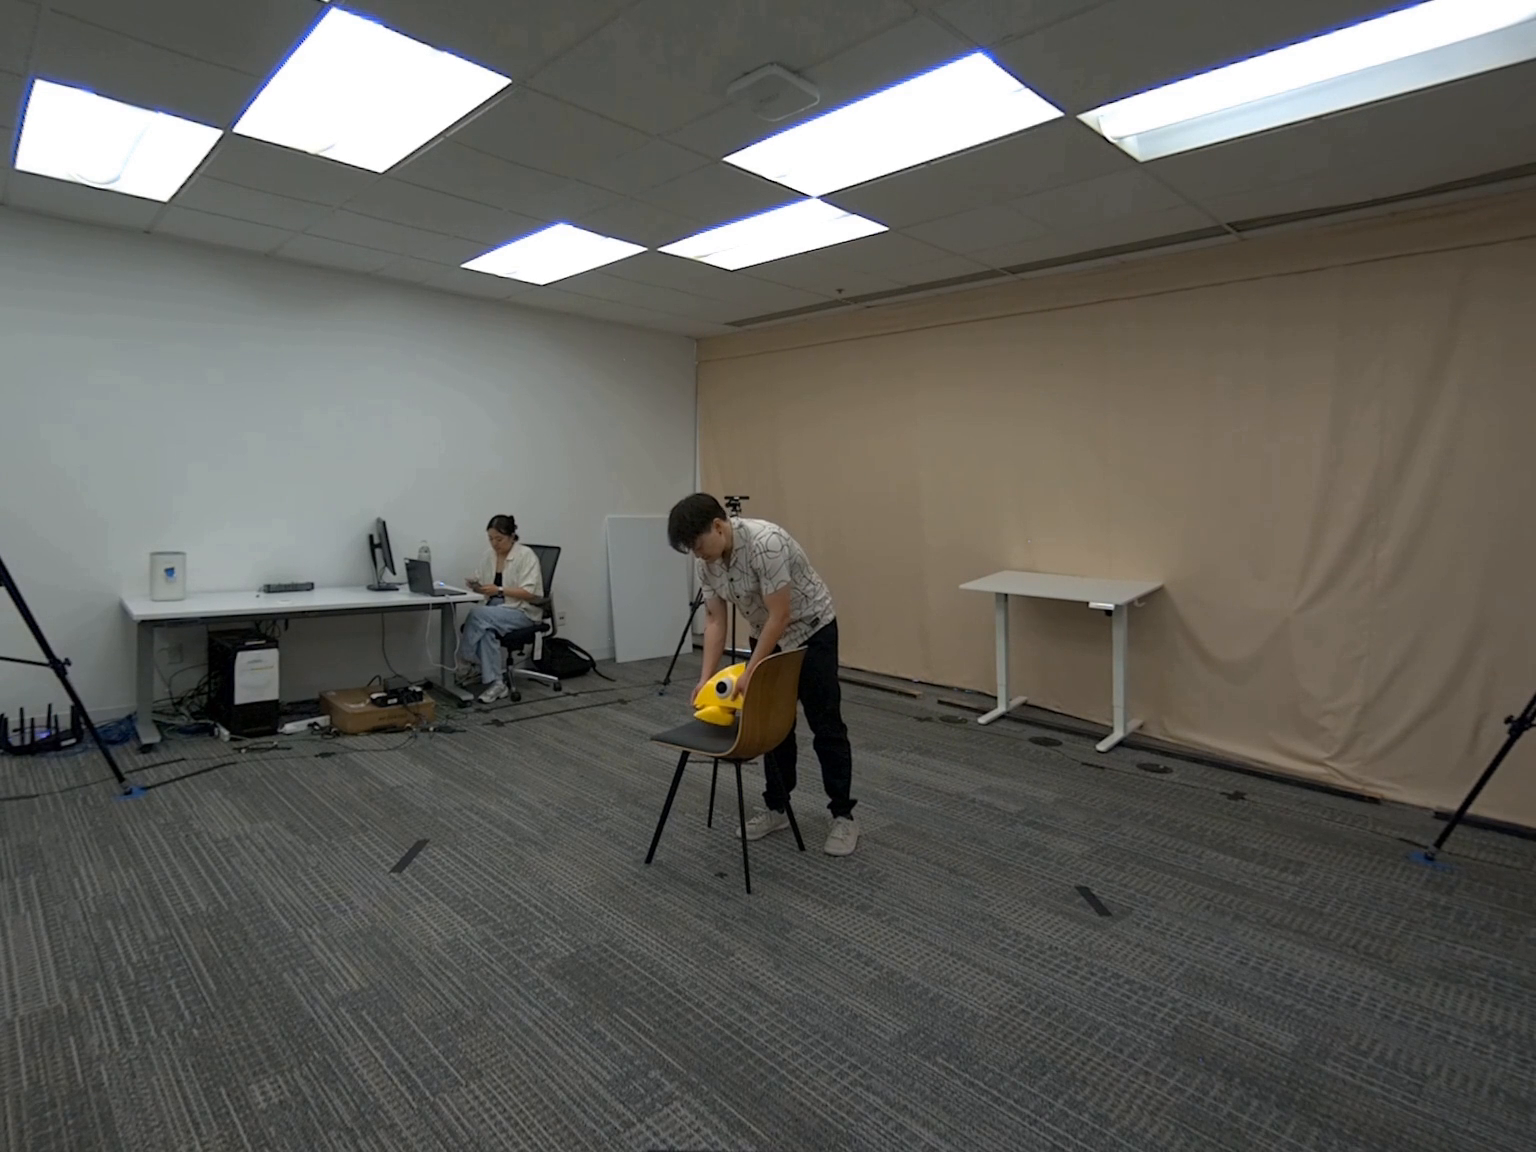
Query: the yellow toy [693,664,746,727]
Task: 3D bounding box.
[{"bbox_3d":[-0.176,0.427,3.271,0.192,0.230,0.207,13,8,-7],"label":"yellow toy"}]
